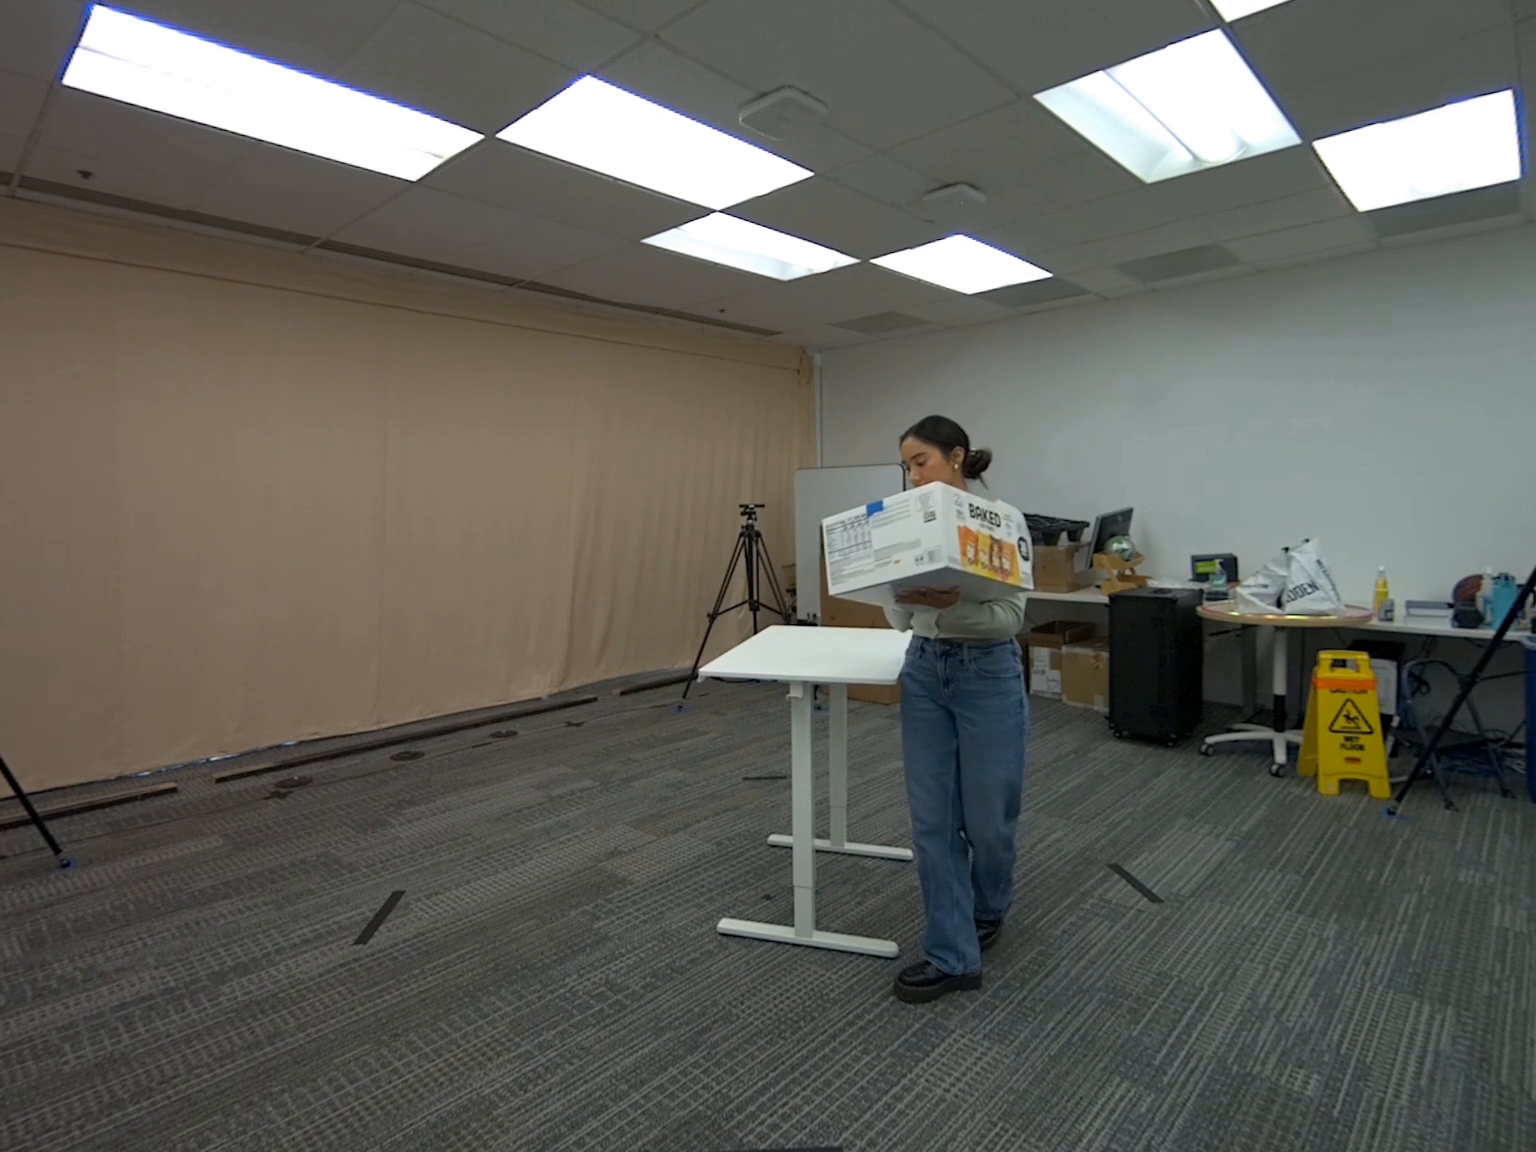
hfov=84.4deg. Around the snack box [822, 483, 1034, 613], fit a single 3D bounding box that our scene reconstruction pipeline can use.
[{"bbox_3d":[0.408,-0.055,2.112,0.349,0.208,0.391,-17,-20,42],"label":"snack box"}]
